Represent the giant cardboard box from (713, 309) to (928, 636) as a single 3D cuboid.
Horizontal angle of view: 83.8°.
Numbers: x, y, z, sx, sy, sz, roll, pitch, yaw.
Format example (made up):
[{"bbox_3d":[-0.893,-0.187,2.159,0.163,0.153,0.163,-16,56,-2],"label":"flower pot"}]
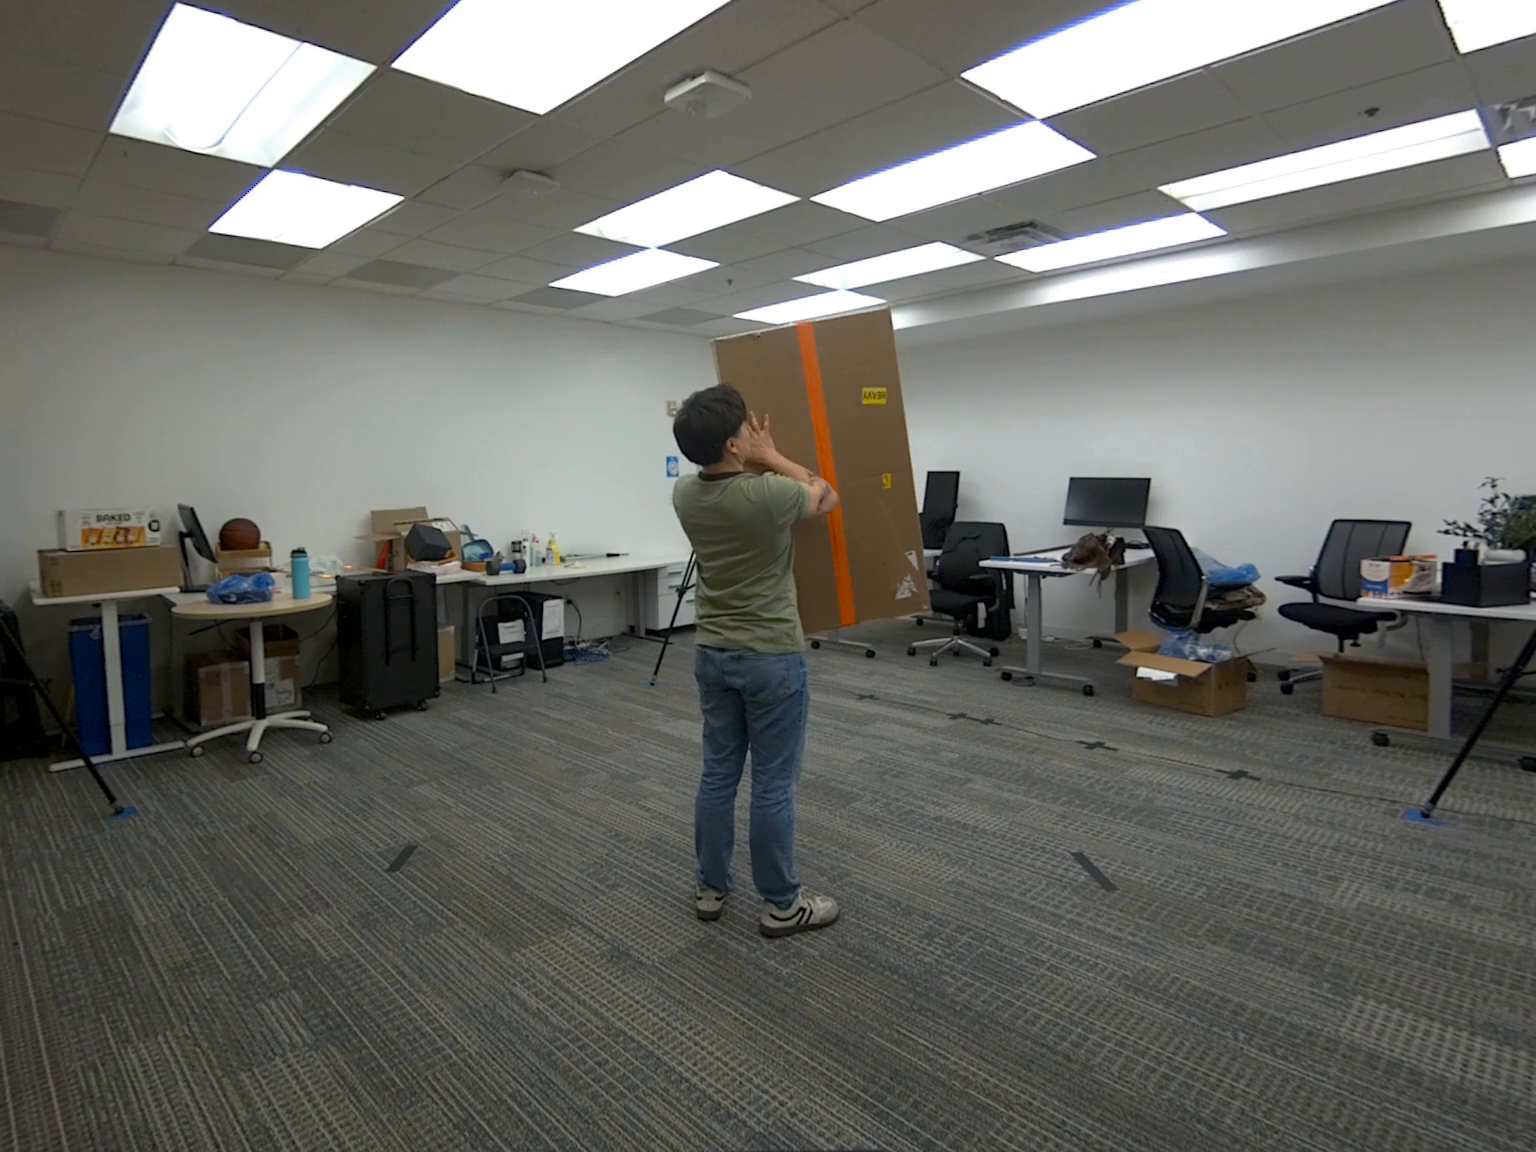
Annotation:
[{"bbox_3d":[0.175,-0.365,3.007,0.577,1.012,0.432,-10,12,-1],"label":"giant cardboard box"}]
